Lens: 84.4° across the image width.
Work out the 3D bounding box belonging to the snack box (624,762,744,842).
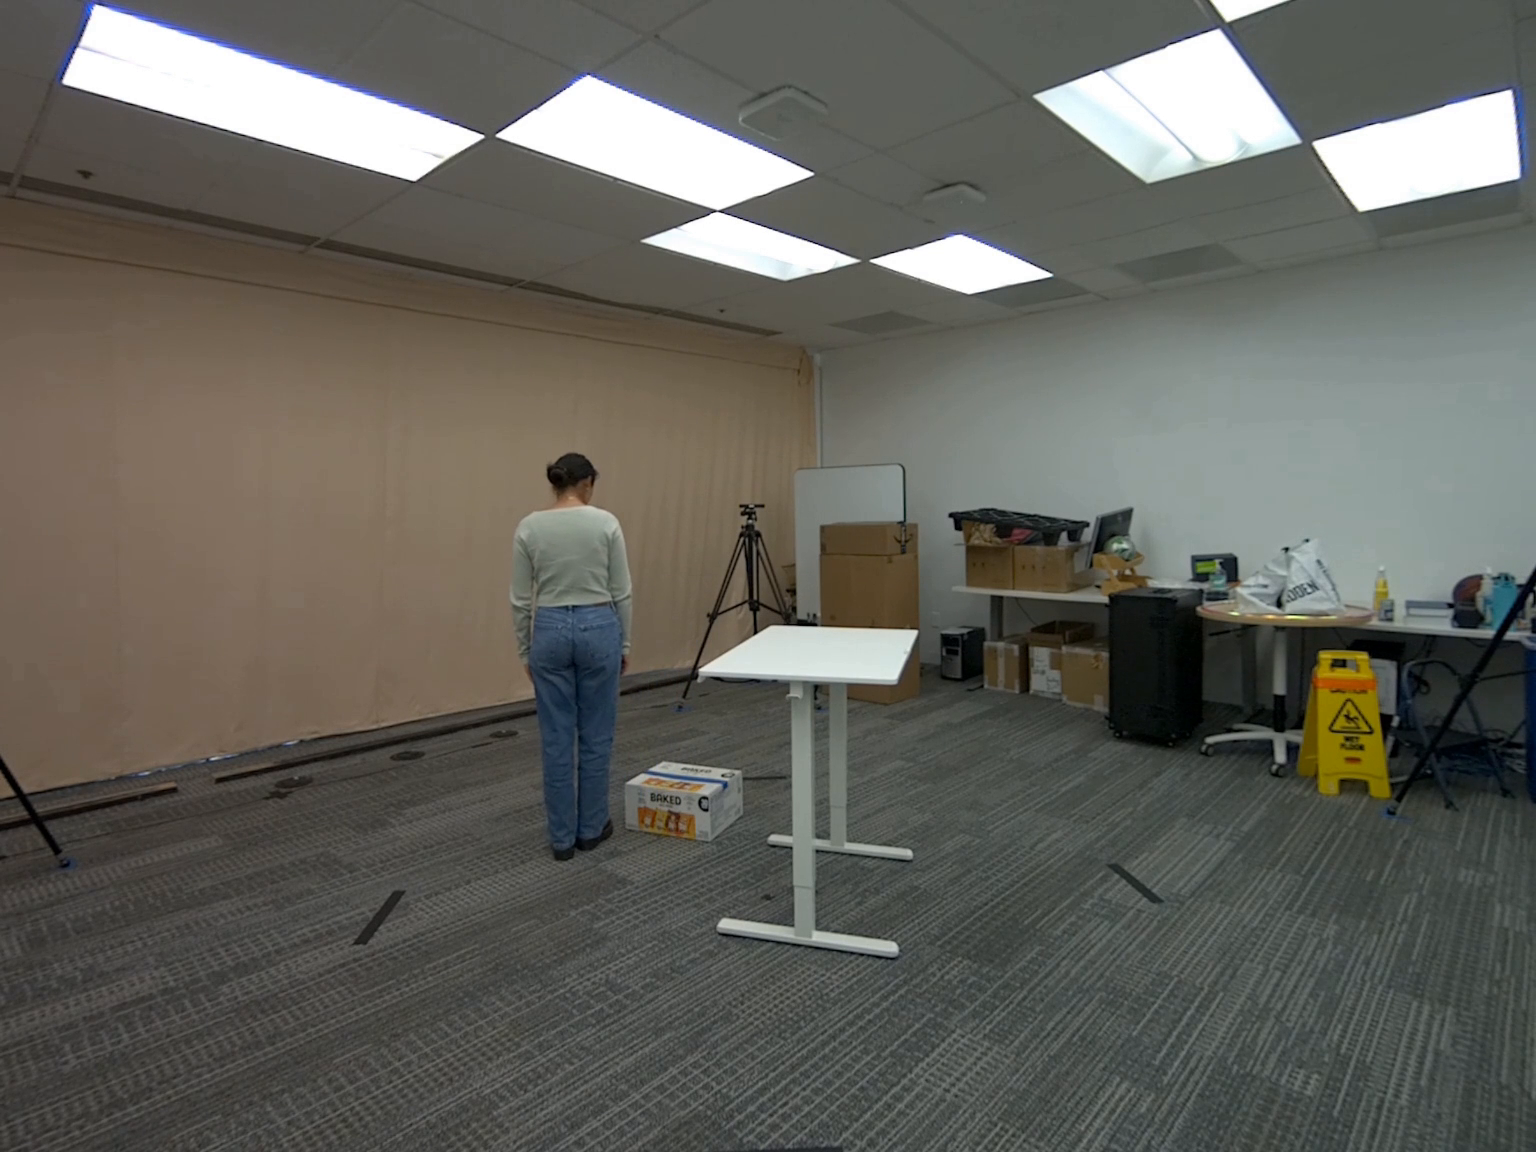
[{"bbox_3d":[-0.366,0.983,3.705,0.415,0.205,0.333,0,5,24],"label":"snack box"}]
